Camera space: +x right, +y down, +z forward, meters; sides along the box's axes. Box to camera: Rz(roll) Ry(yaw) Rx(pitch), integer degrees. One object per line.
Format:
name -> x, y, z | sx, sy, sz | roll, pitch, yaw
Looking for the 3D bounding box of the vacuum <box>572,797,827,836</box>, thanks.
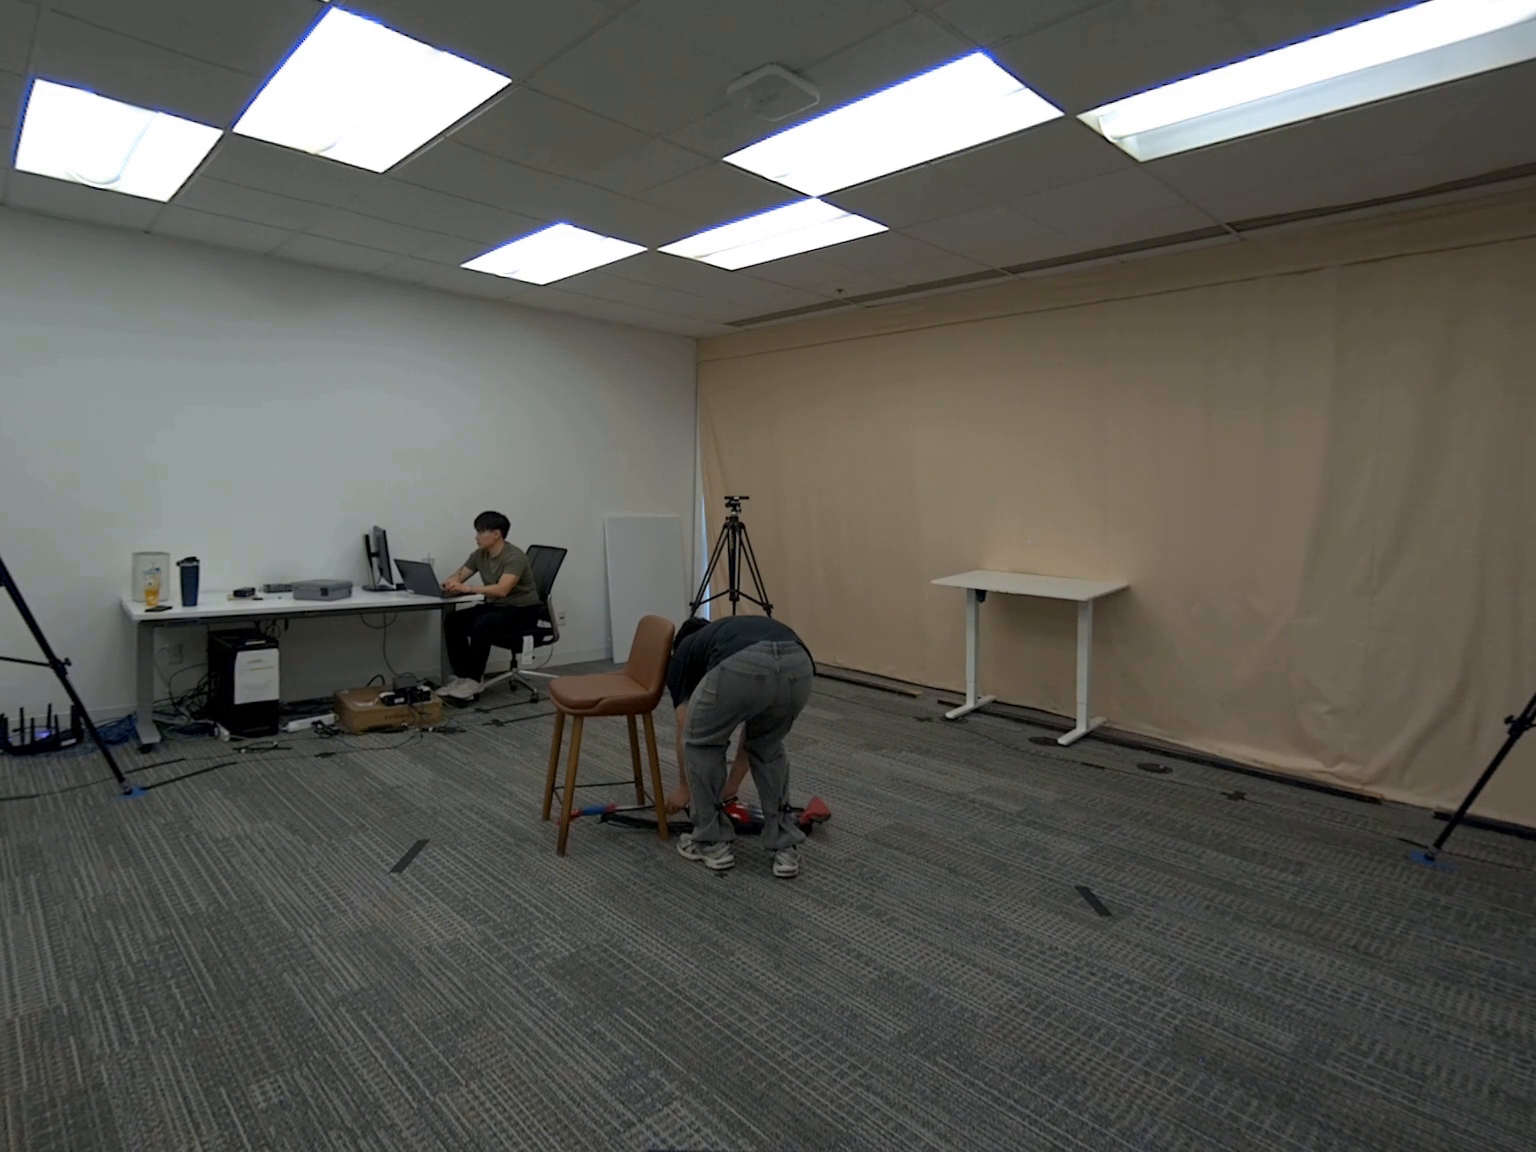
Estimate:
vacuum -> -0.335, 1.004, 3.480 | 1.041, 0.144, 0.255 | 0, 3, -9
